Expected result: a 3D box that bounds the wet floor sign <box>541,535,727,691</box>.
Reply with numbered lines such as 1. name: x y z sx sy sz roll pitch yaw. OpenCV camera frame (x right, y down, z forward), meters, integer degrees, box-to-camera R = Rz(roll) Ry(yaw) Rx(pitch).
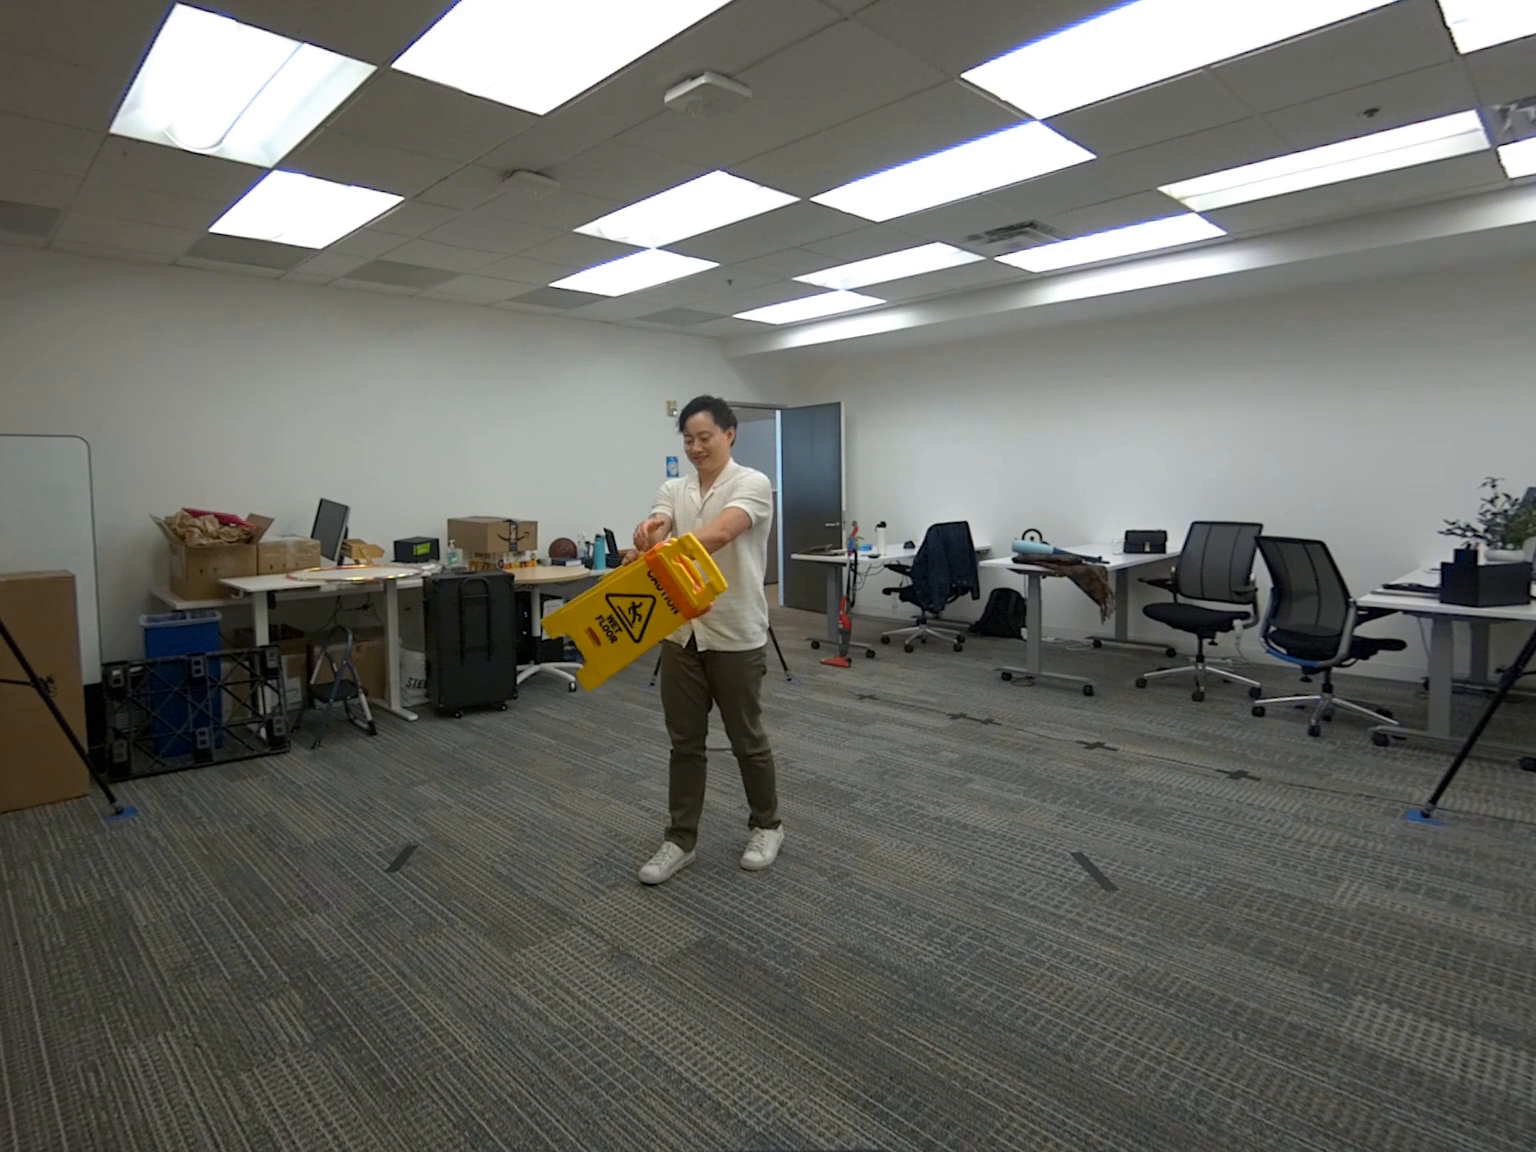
1. wet floor sign: -0.374 0.076 2.649 0.652 0.282 0.287 -31 4 42
